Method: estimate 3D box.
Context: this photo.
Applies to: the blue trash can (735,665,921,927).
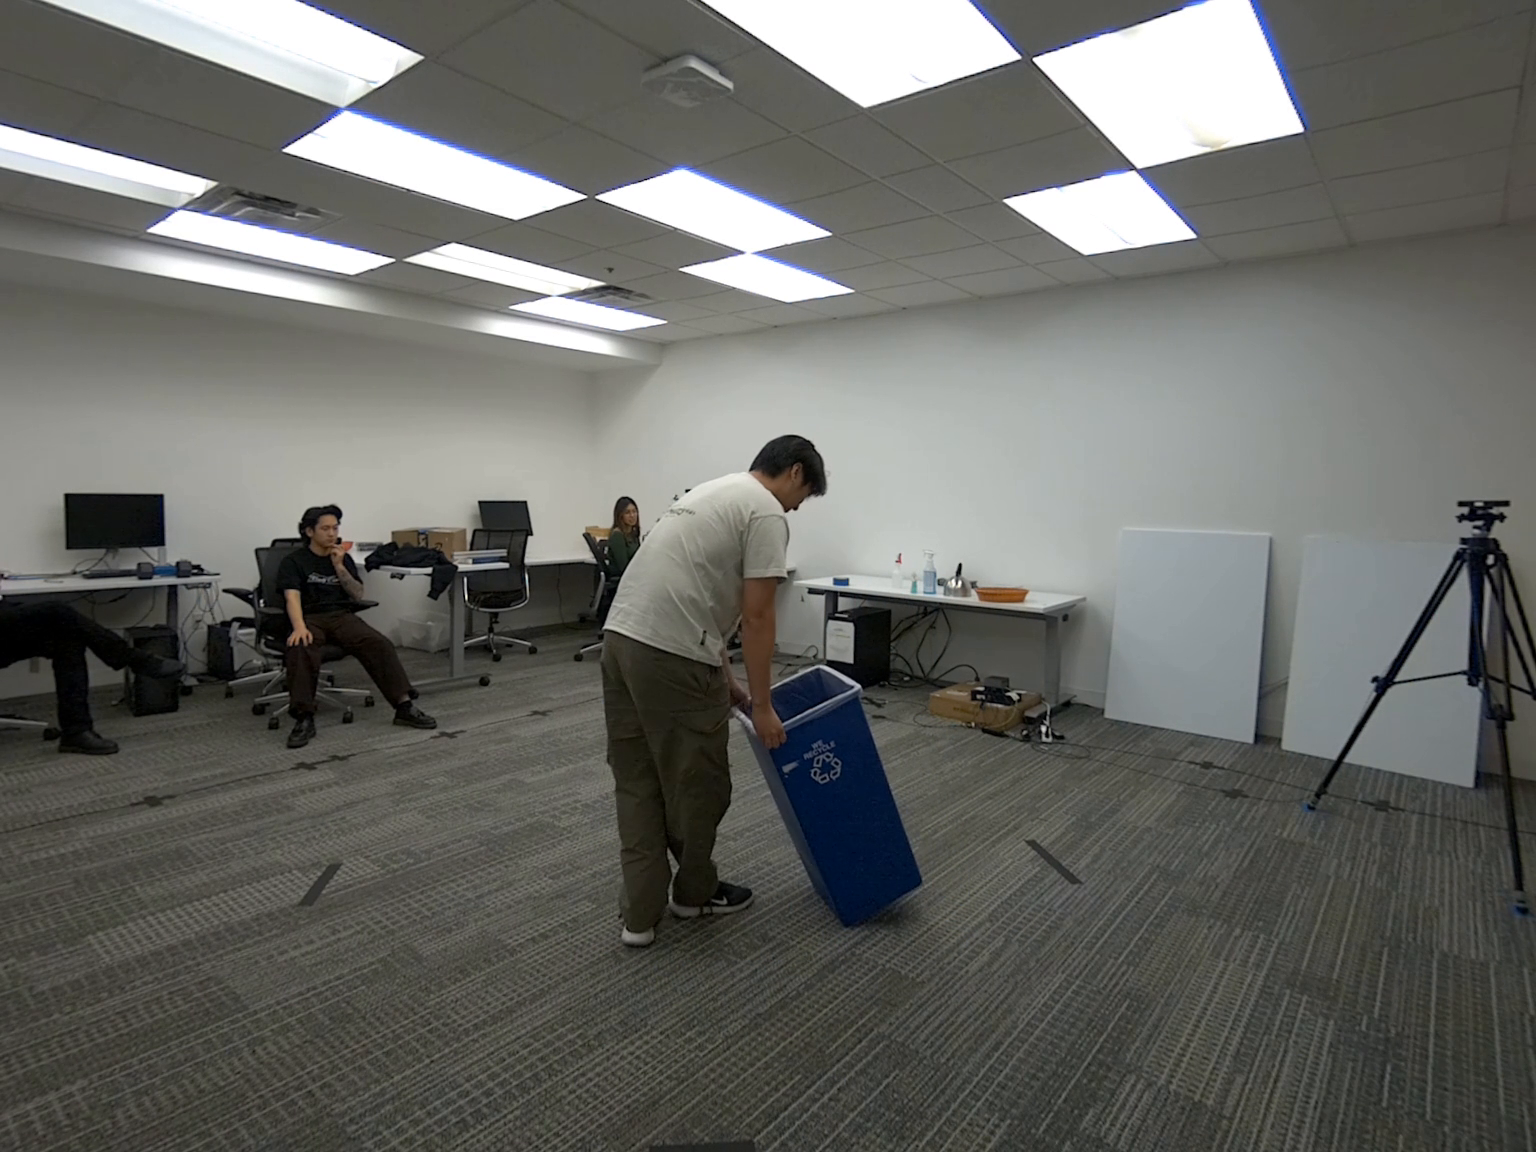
[{"bbox_3d":[0.204,0.723,2.842,0.371,0.706,0.385,-24,9,-13],"label":"blue trash can"}]
